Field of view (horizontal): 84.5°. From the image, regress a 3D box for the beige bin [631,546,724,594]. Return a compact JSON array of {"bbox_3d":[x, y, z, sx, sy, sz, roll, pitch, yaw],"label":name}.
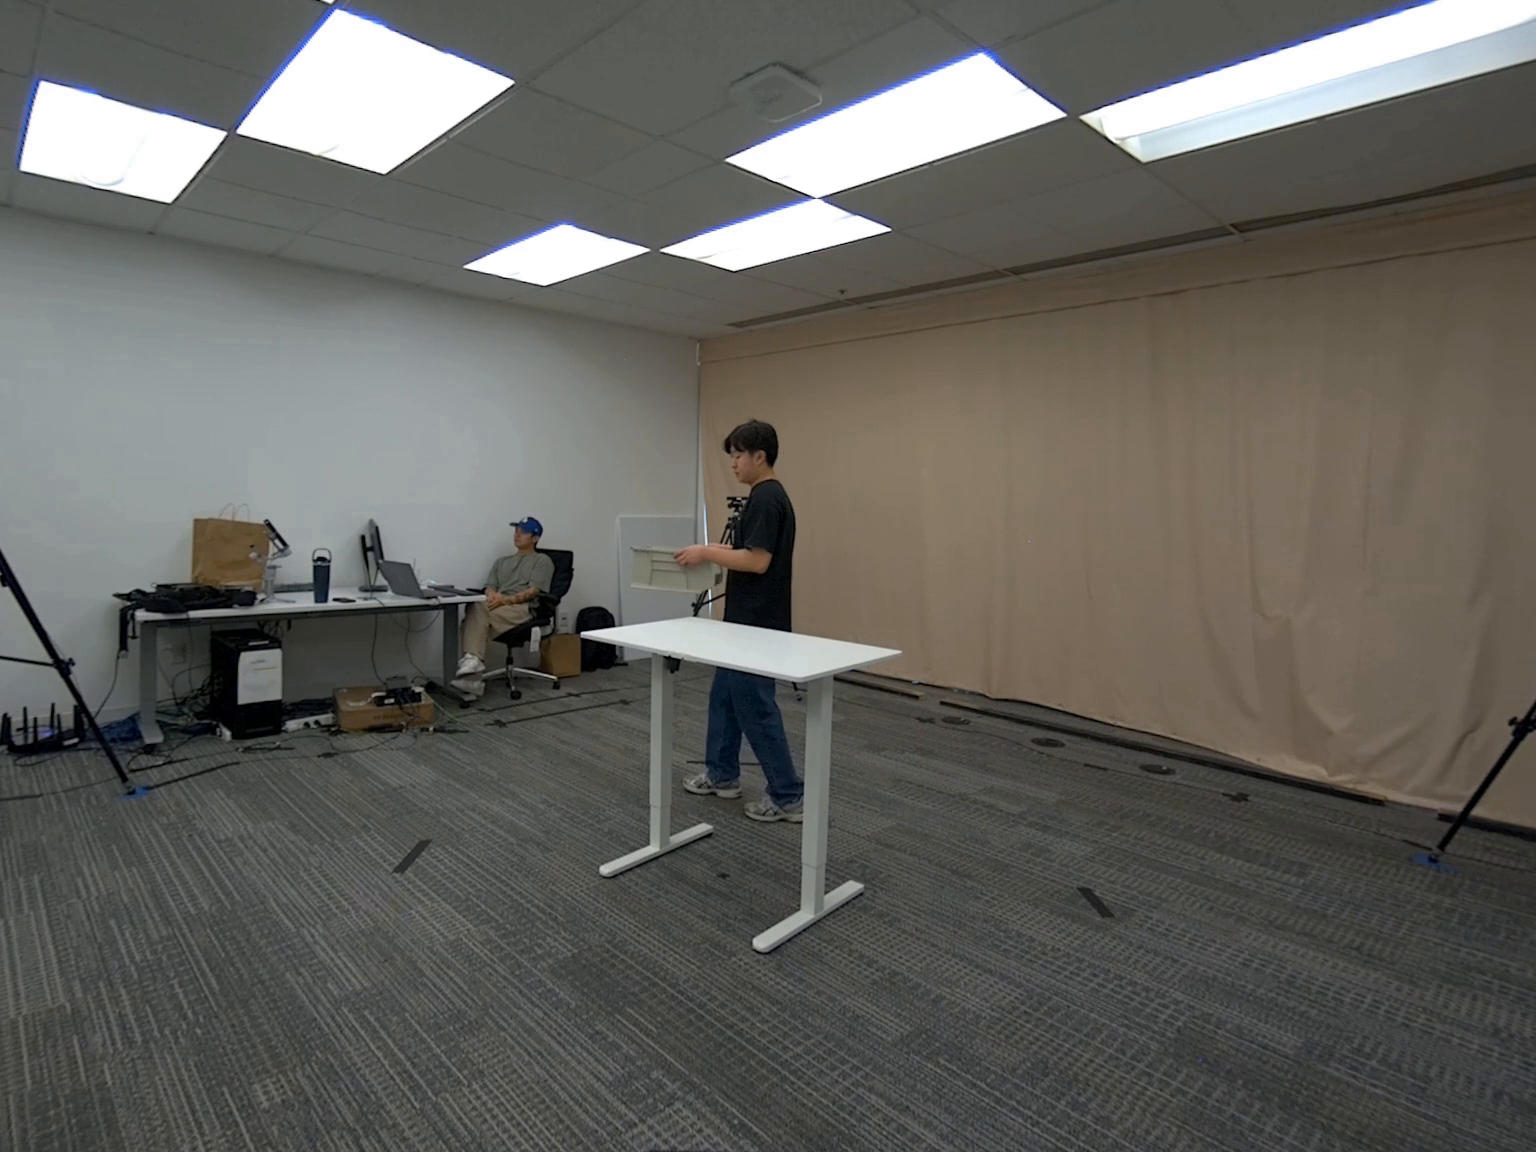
[{"bbox_3d":[-0.412,-0.035,3.853,0.377,0.189,0.423,3,3,0],"label":"beige bin"}]
